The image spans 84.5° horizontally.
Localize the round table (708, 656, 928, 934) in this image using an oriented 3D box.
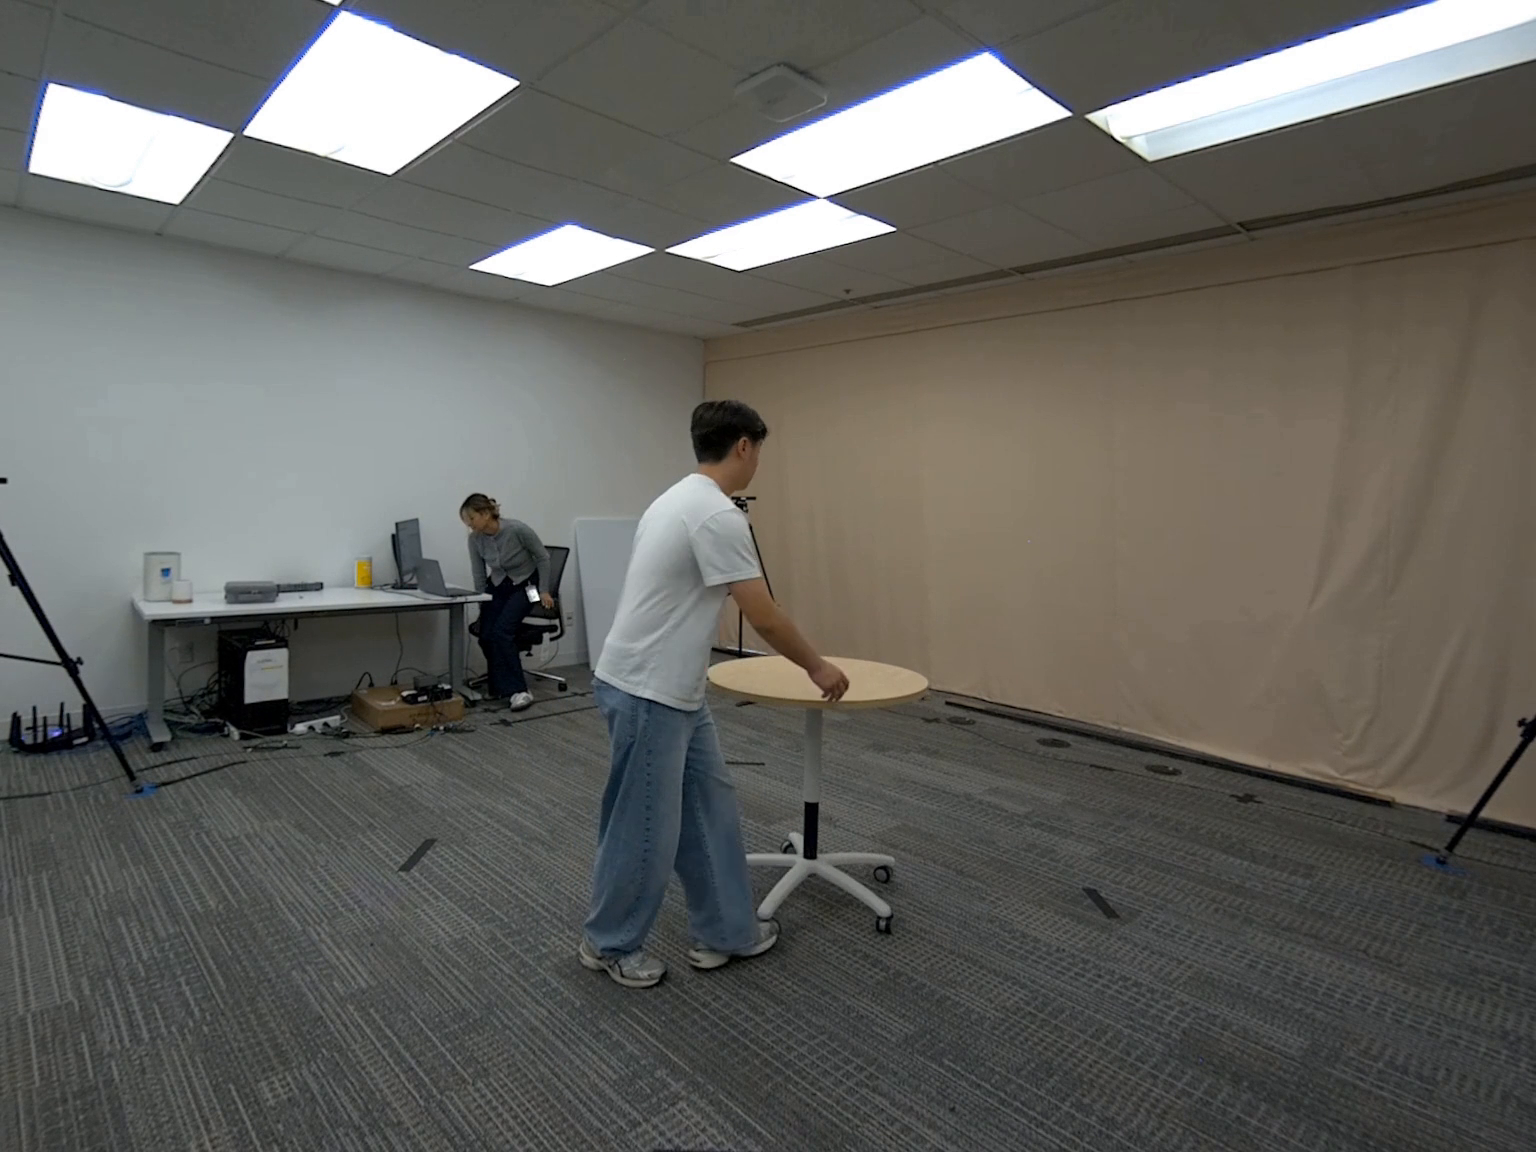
[{"bbox_3d":[0.146,0.732,2.947,0.784,0.784,0.788,2,4,-1],"label":"round table"}]
